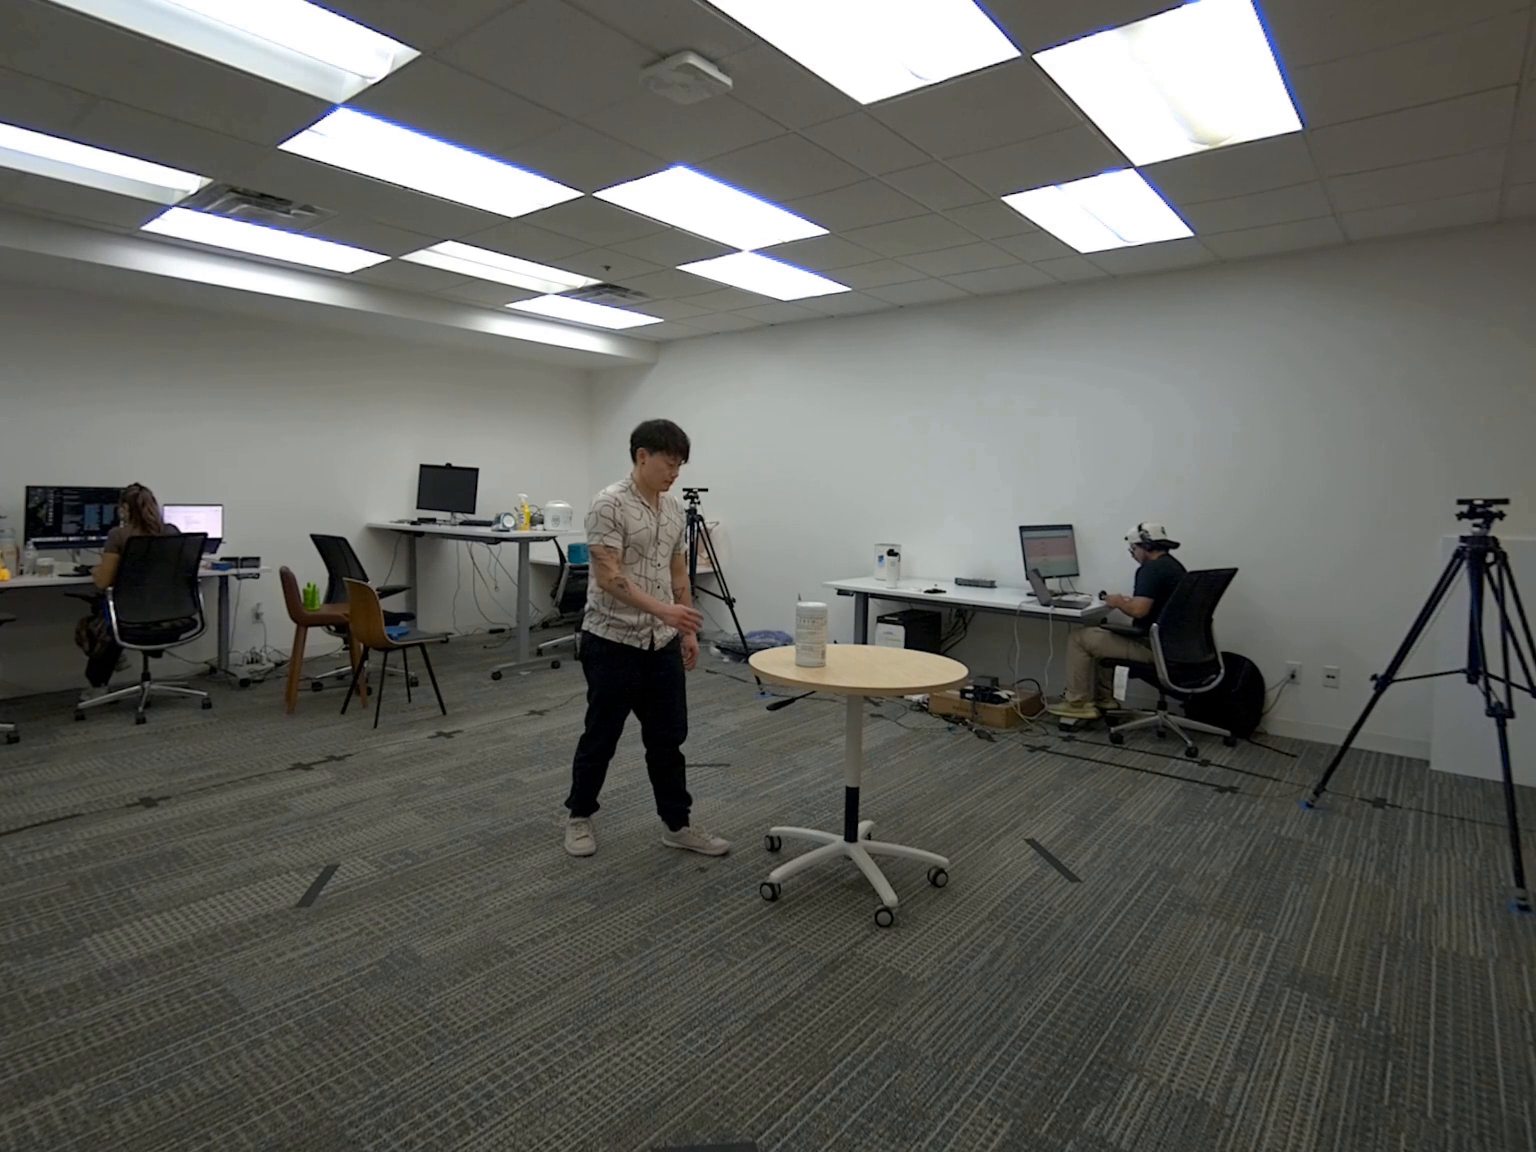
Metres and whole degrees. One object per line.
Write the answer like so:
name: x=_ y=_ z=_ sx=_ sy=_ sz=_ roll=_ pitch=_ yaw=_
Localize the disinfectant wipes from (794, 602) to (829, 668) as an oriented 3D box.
disinfectant wipes: x=0.146 y=0.203 z=2.979 sx=0.118 sy=0.217 sz=0.118 roll=1 pitch=3 yaw=-2
